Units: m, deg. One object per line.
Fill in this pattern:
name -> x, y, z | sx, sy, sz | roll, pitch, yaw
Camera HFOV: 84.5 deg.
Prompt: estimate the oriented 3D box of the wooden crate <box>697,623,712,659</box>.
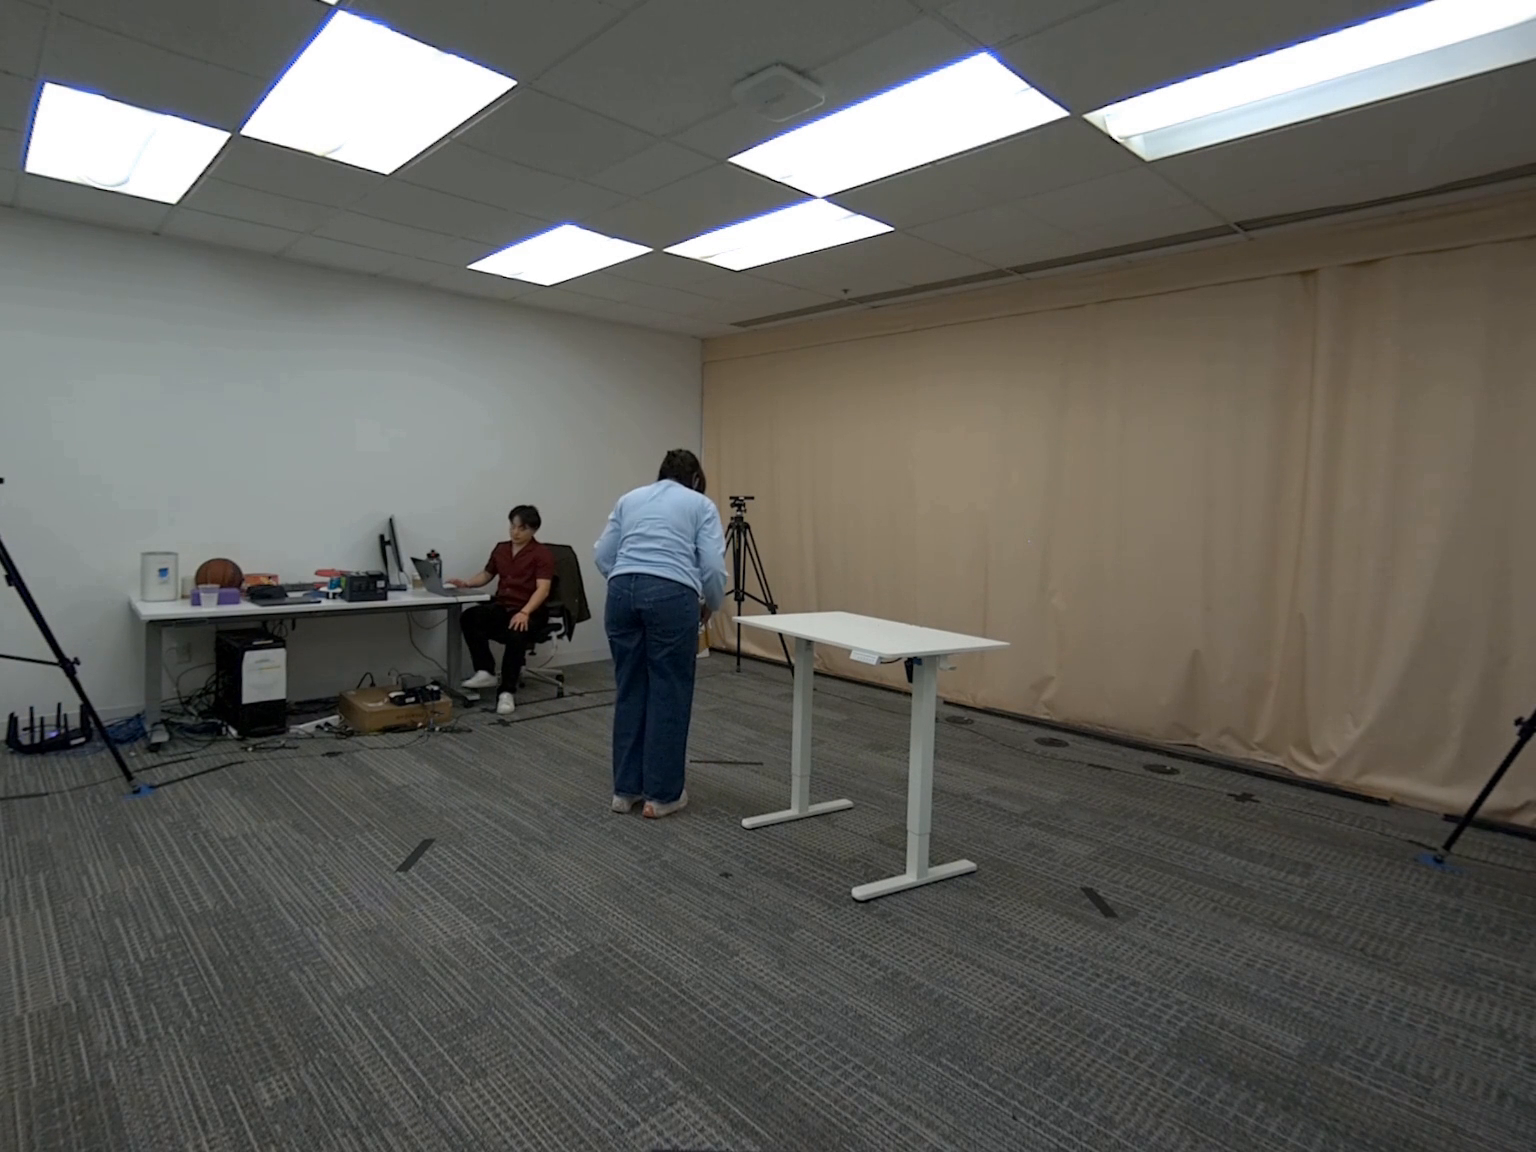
wooden crate -> -0.436, 0.201, 4.052 | 0.329, 0.271, 0.299 | 9, 11, 17
